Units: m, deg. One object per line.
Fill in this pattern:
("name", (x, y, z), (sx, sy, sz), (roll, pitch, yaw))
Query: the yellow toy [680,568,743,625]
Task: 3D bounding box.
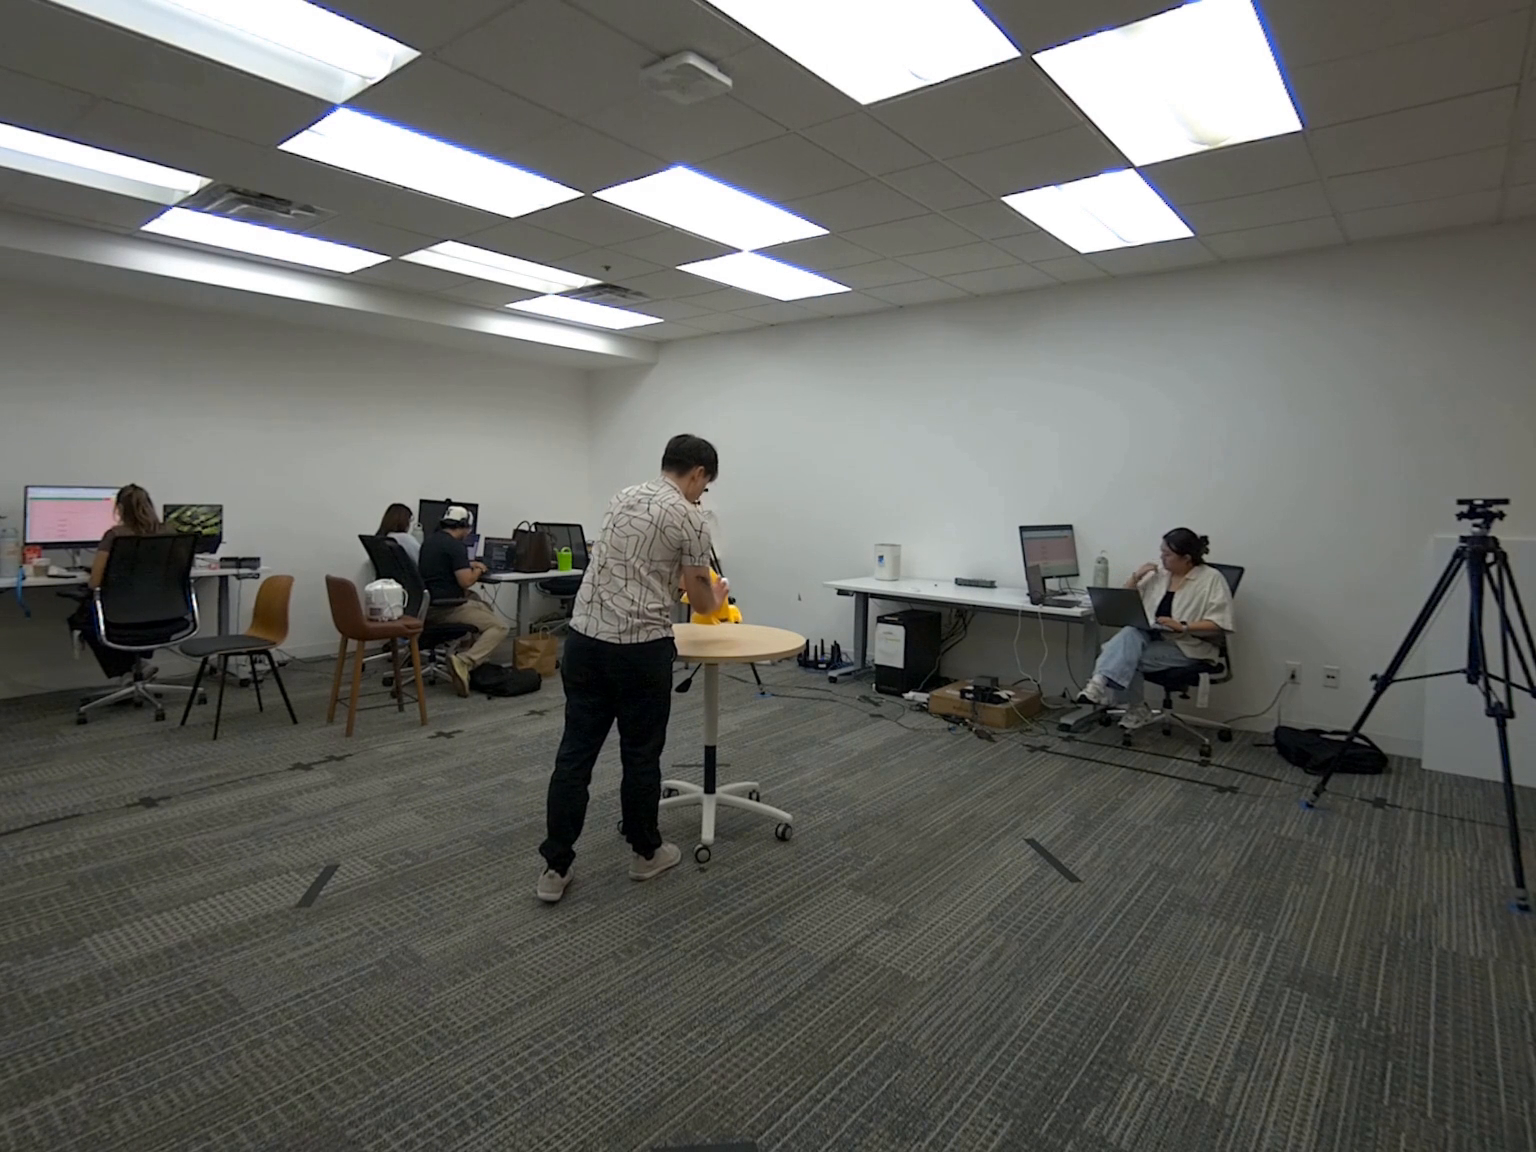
("yellow toy", (-0.224, 0.062, 3.385), (0.199, 0.230, 0.199), (-4, 5, -40))
